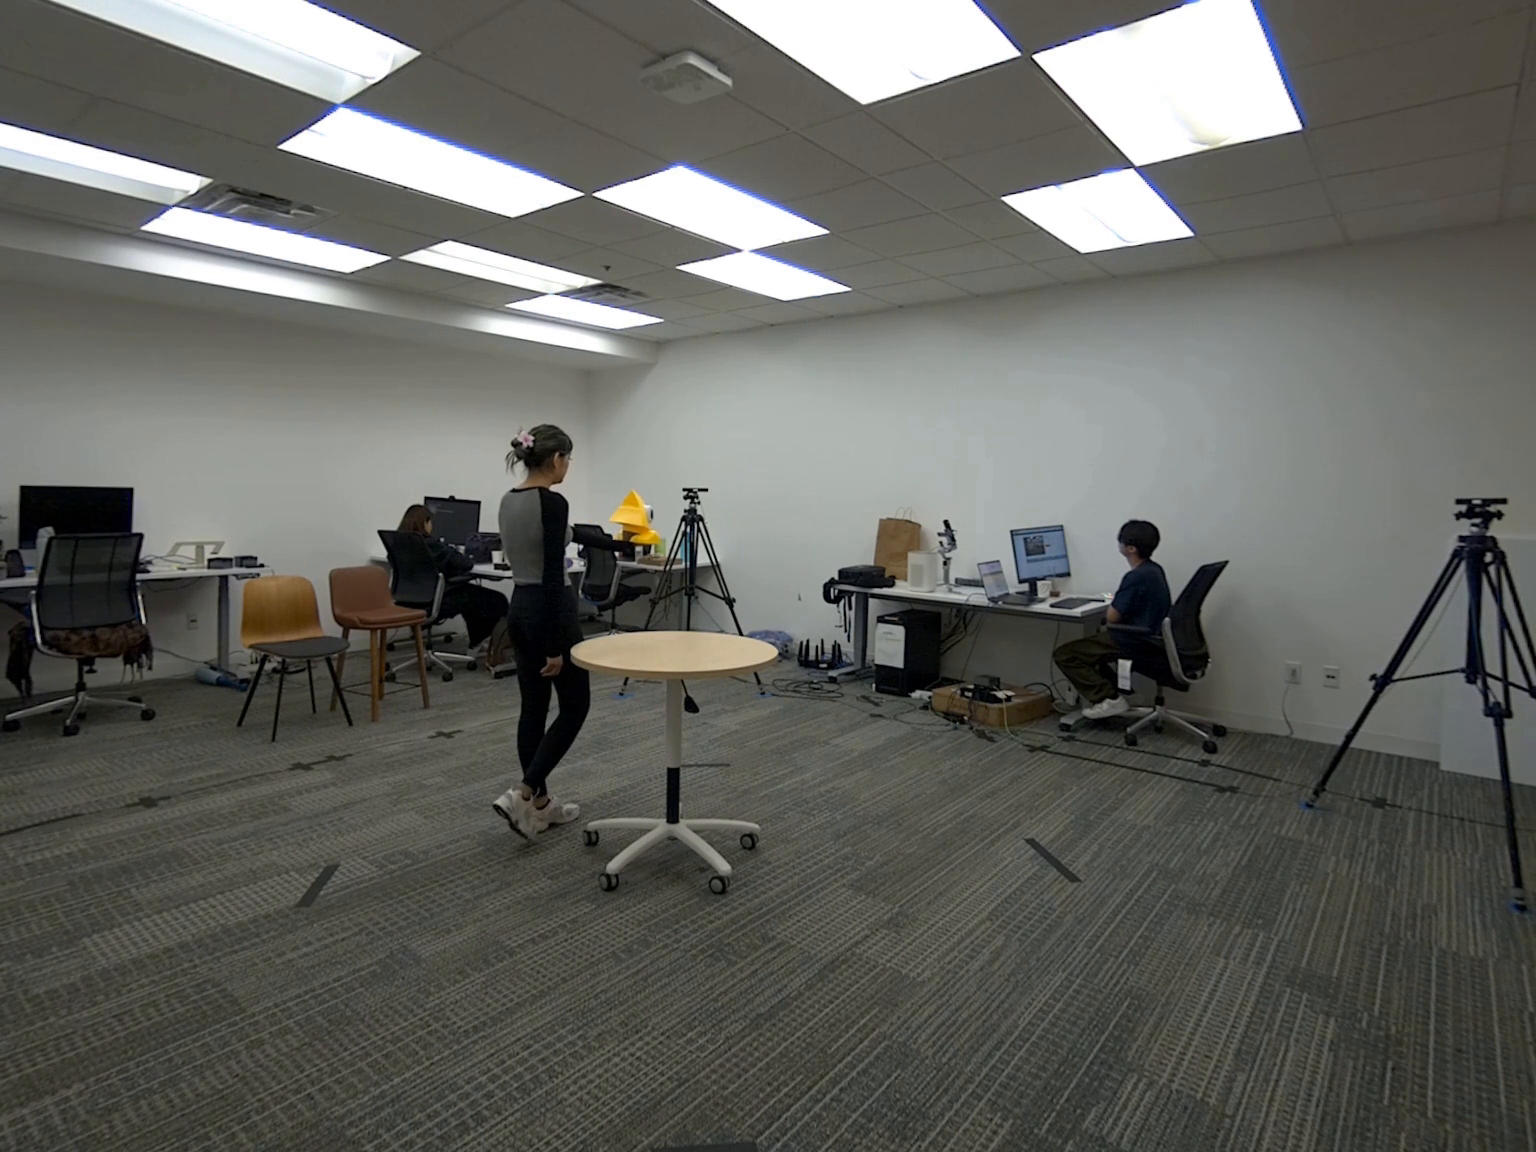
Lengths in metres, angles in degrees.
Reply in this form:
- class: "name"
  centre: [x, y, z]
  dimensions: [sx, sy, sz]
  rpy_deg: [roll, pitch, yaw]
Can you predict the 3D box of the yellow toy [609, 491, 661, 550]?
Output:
- class: "yellow toy"
  centre: [-0.599, -0.275, 3.828]
  dimensions: [0.212, 0.230, 0.187]
  rpy_deg: [8, 6, 35]
